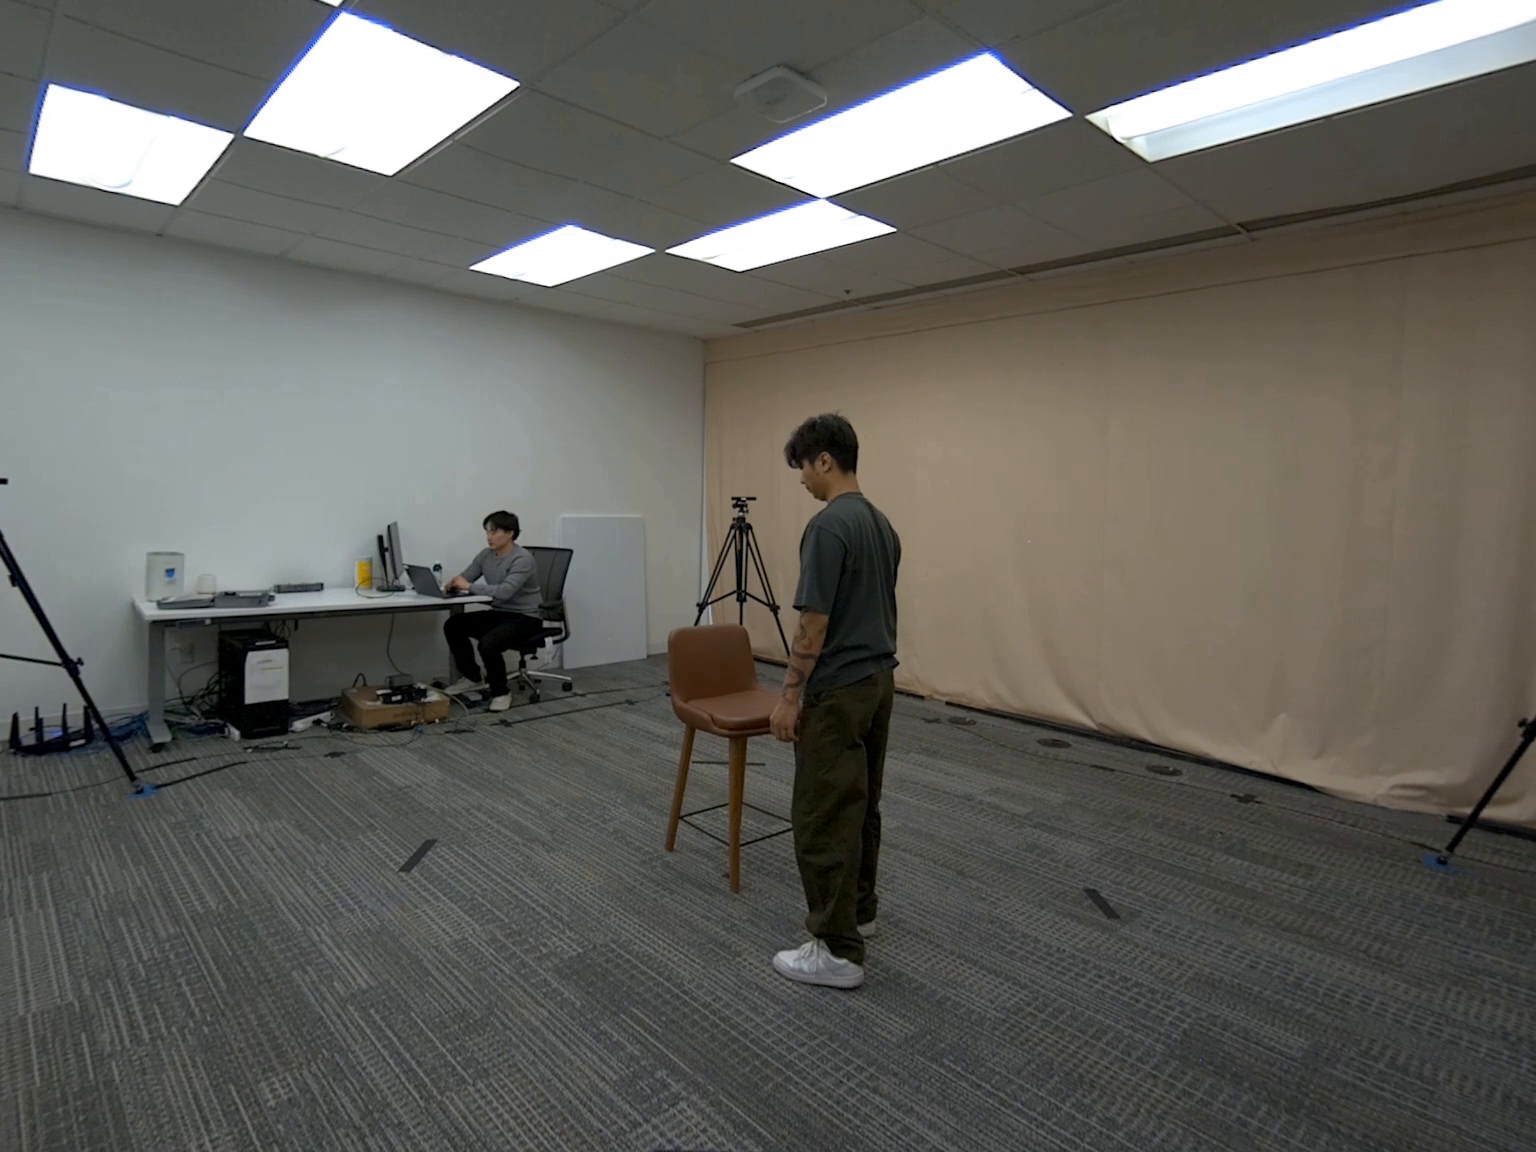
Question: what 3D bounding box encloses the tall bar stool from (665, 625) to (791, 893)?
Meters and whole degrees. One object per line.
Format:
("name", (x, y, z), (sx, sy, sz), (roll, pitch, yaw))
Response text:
("tall bar stool", (-0.121, 0.659, 3.248), (0.446, 0.889, 0.479), (-2, 2, -41))
